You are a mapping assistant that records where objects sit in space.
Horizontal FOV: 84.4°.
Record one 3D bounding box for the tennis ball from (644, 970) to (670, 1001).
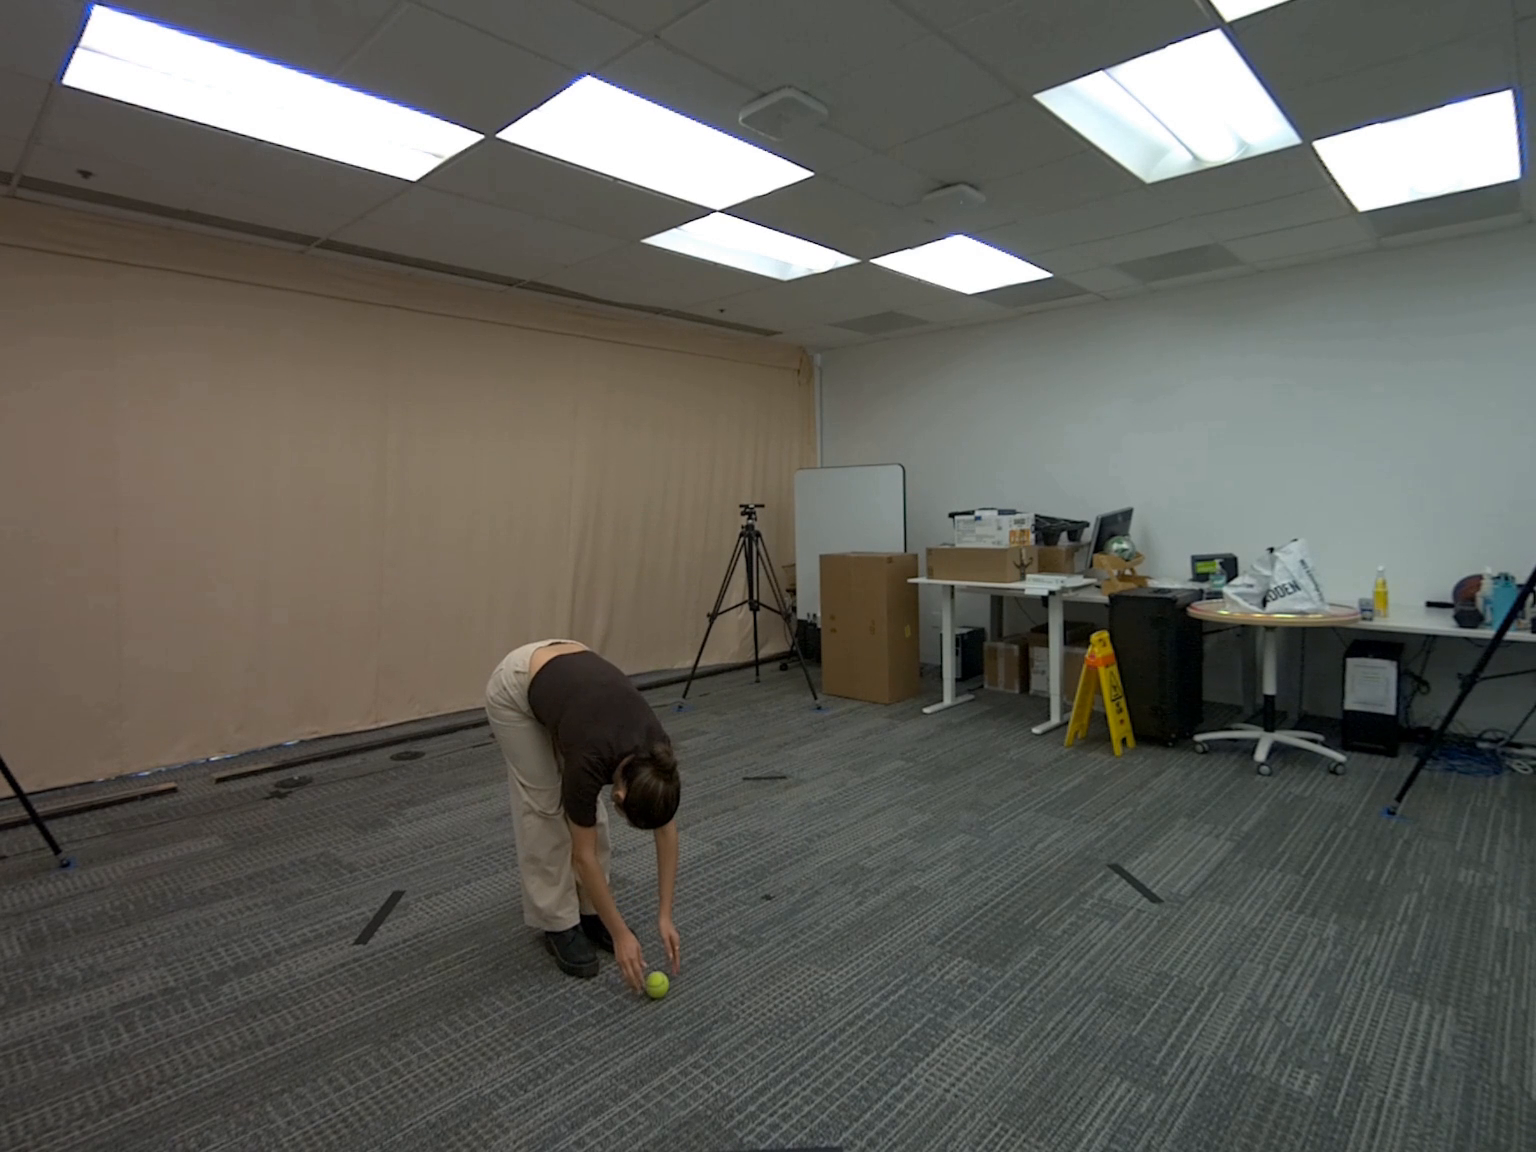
[{"bbox_3d":[-0.322,1.150,2.405,0.066,0.066,0.067,-1,4,-2],"label":"tennis ball"}]
